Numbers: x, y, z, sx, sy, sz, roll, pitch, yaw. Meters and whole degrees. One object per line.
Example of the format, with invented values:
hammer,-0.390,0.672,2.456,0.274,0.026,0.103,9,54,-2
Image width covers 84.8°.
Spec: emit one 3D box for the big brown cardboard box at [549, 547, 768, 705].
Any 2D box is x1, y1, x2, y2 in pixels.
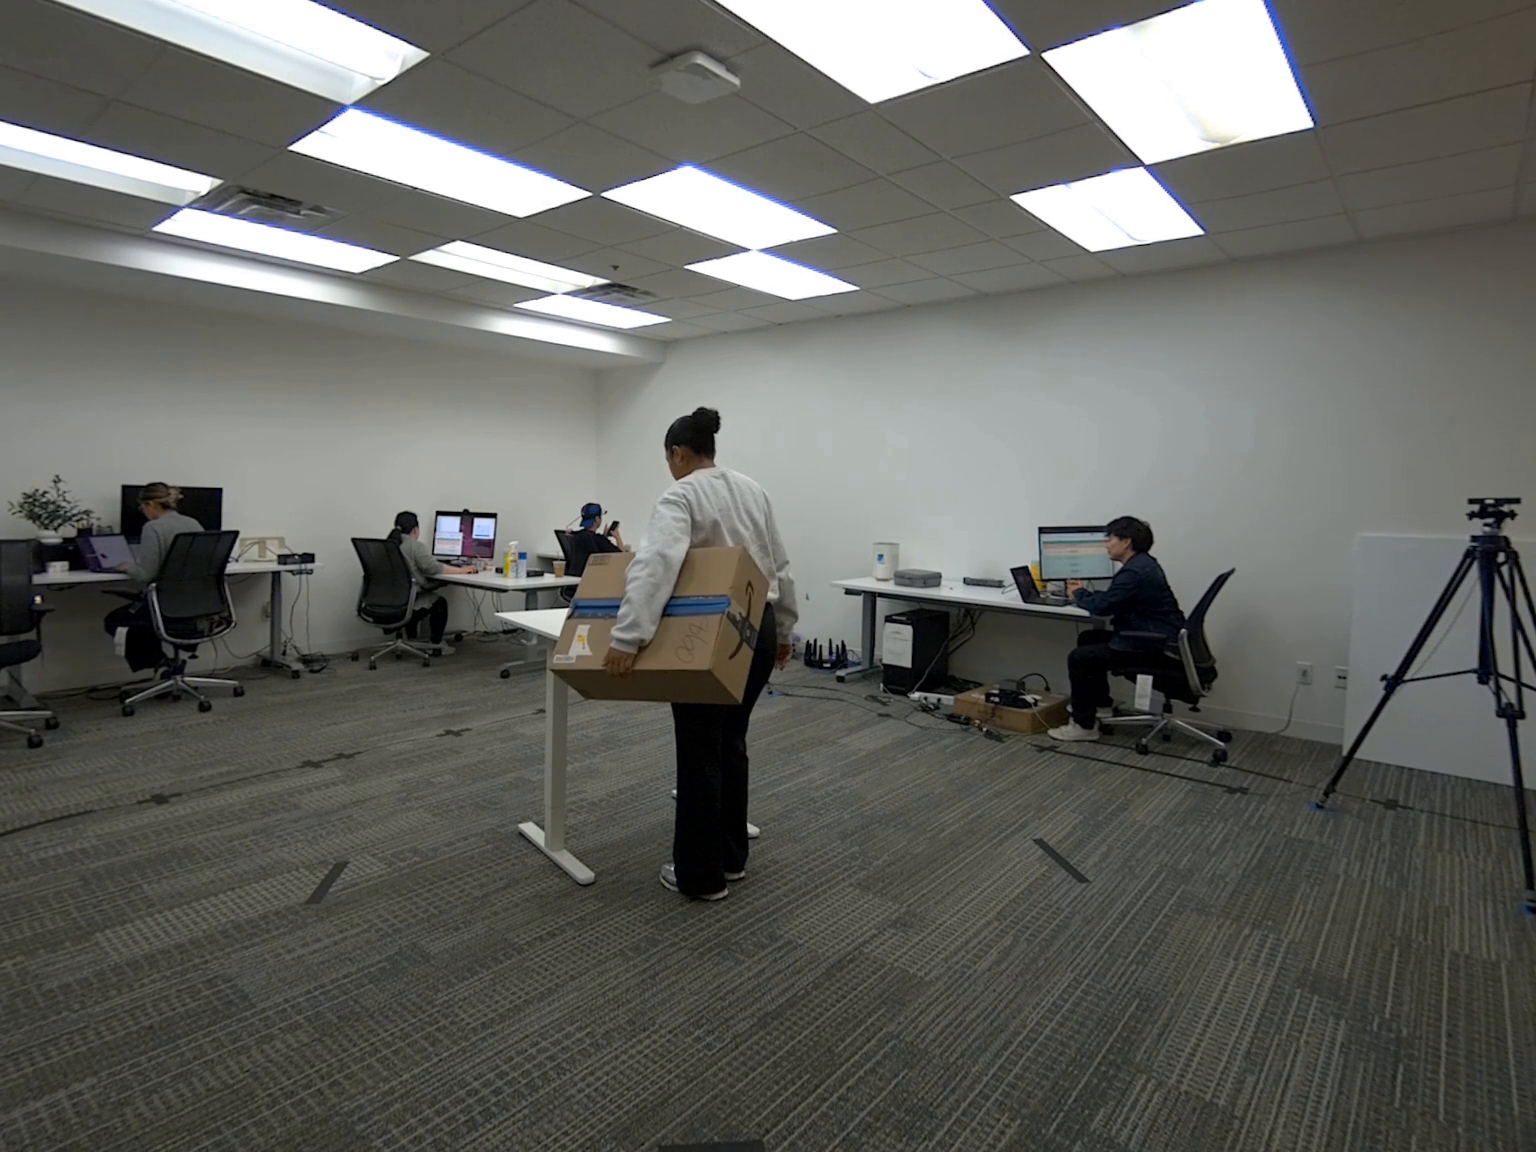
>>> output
big brown cardboard box,-0.338,0.151,2.626,0.603,0.425,0.223,-3,-35,26
